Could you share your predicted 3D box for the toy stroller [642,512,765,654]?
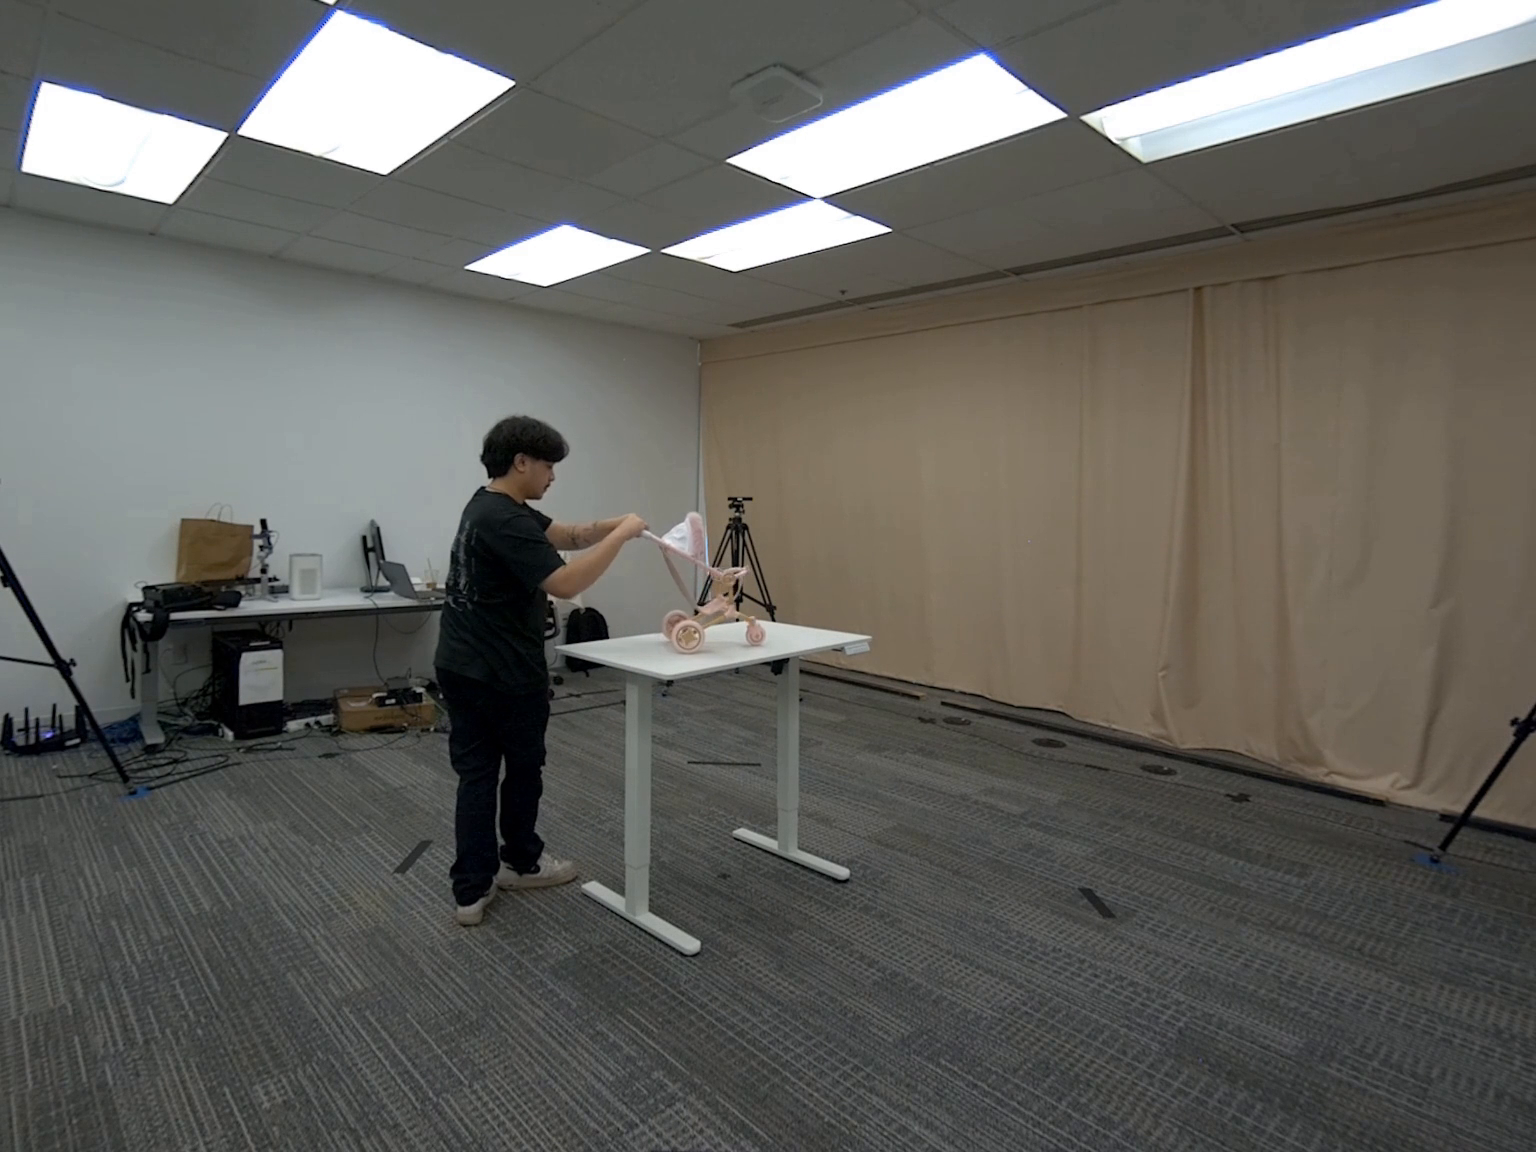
[{"bbox_3d":[-0.236,0.022,2.864,0.340,0.532,0.284,-16,6,-7],"label":"toy stroller"}]
